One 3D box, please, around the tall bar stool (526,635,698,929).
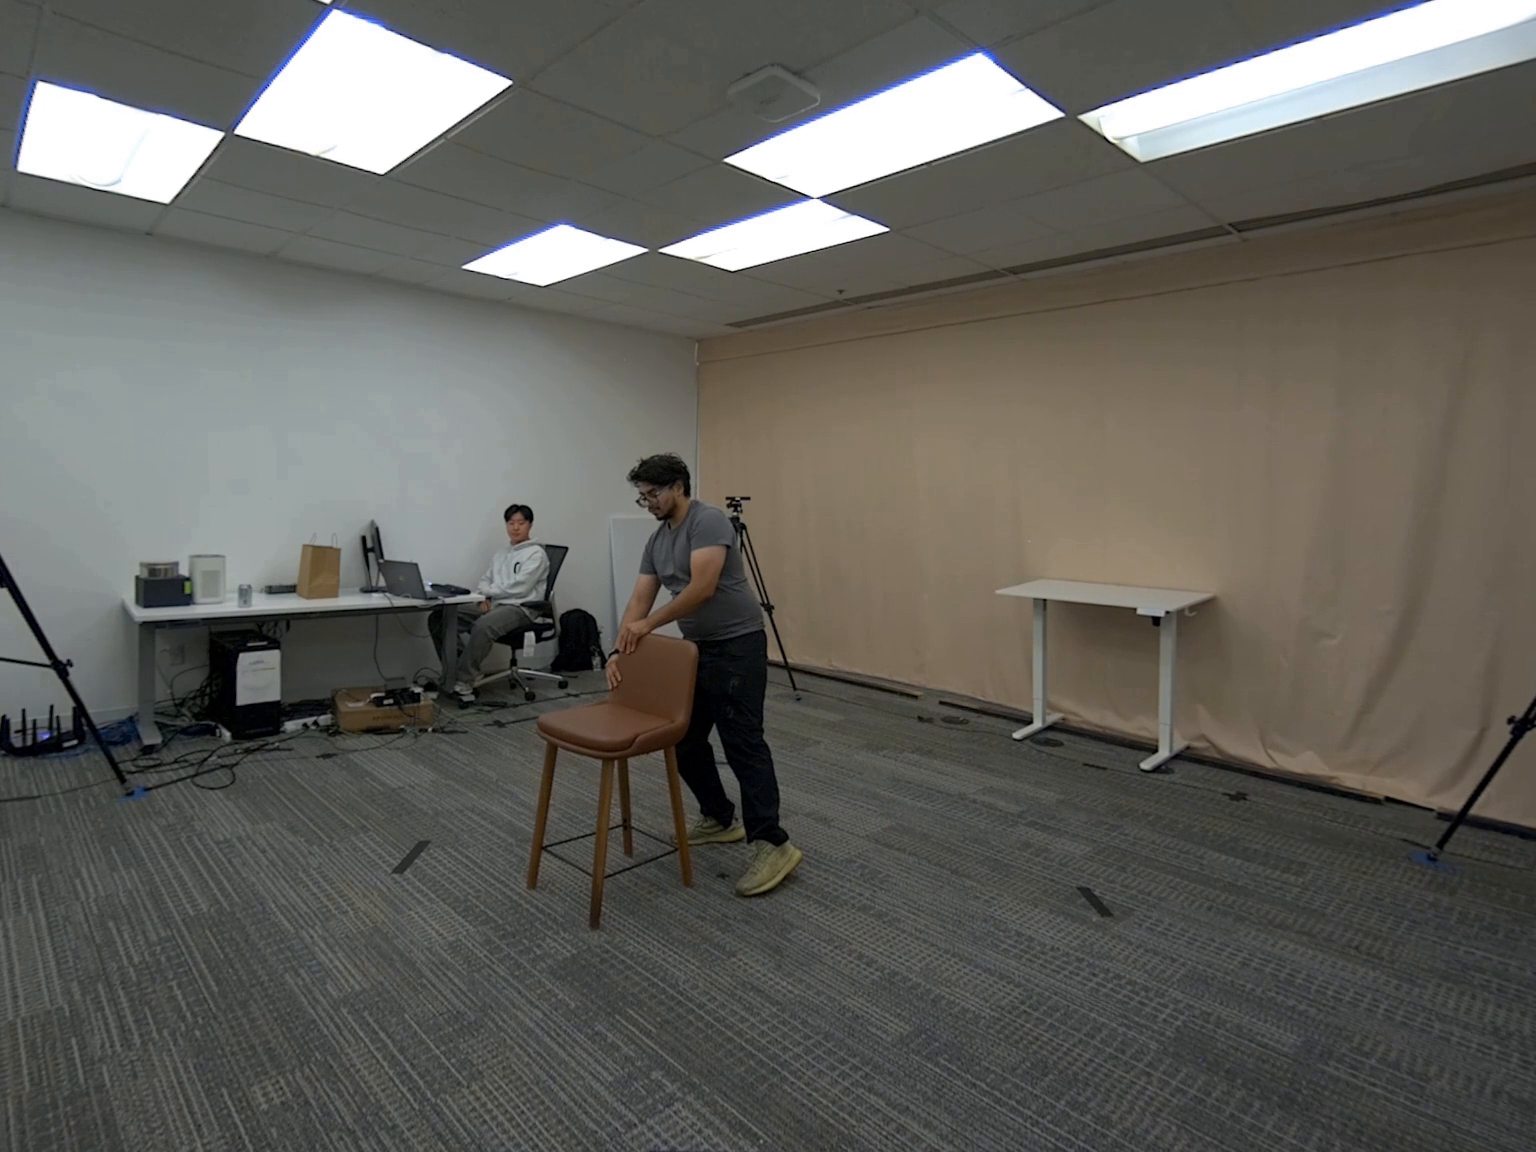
[{"bbox_3d":[-0.541,0.672,2.973,0.468,0.888,0.456,5,3,44],"label":"tall bar stool"}]
